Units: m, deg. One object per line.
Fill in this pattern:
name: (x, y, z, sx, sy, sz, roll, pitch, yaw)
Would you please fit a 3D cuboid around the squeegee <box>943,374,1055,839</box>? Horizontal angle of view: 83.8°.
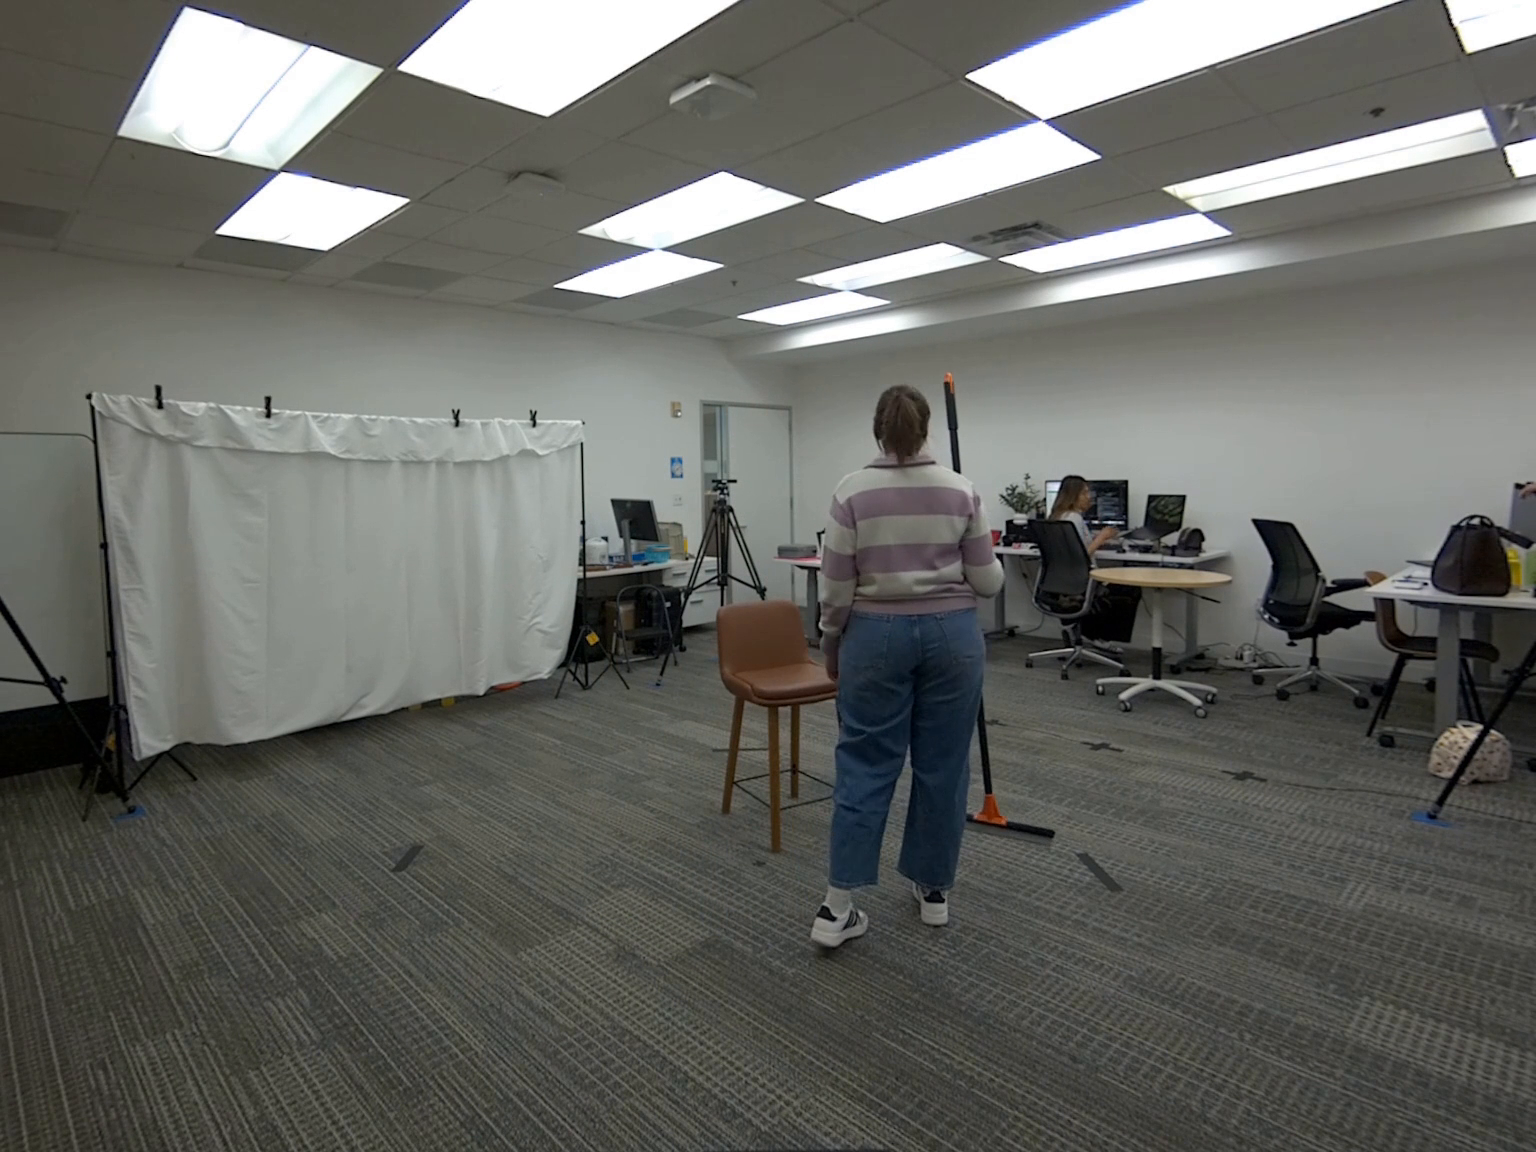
squeegee: (0.682, 0.096, 2.881, 0.051, 1.541, 0.448, -3, -3, -39)
